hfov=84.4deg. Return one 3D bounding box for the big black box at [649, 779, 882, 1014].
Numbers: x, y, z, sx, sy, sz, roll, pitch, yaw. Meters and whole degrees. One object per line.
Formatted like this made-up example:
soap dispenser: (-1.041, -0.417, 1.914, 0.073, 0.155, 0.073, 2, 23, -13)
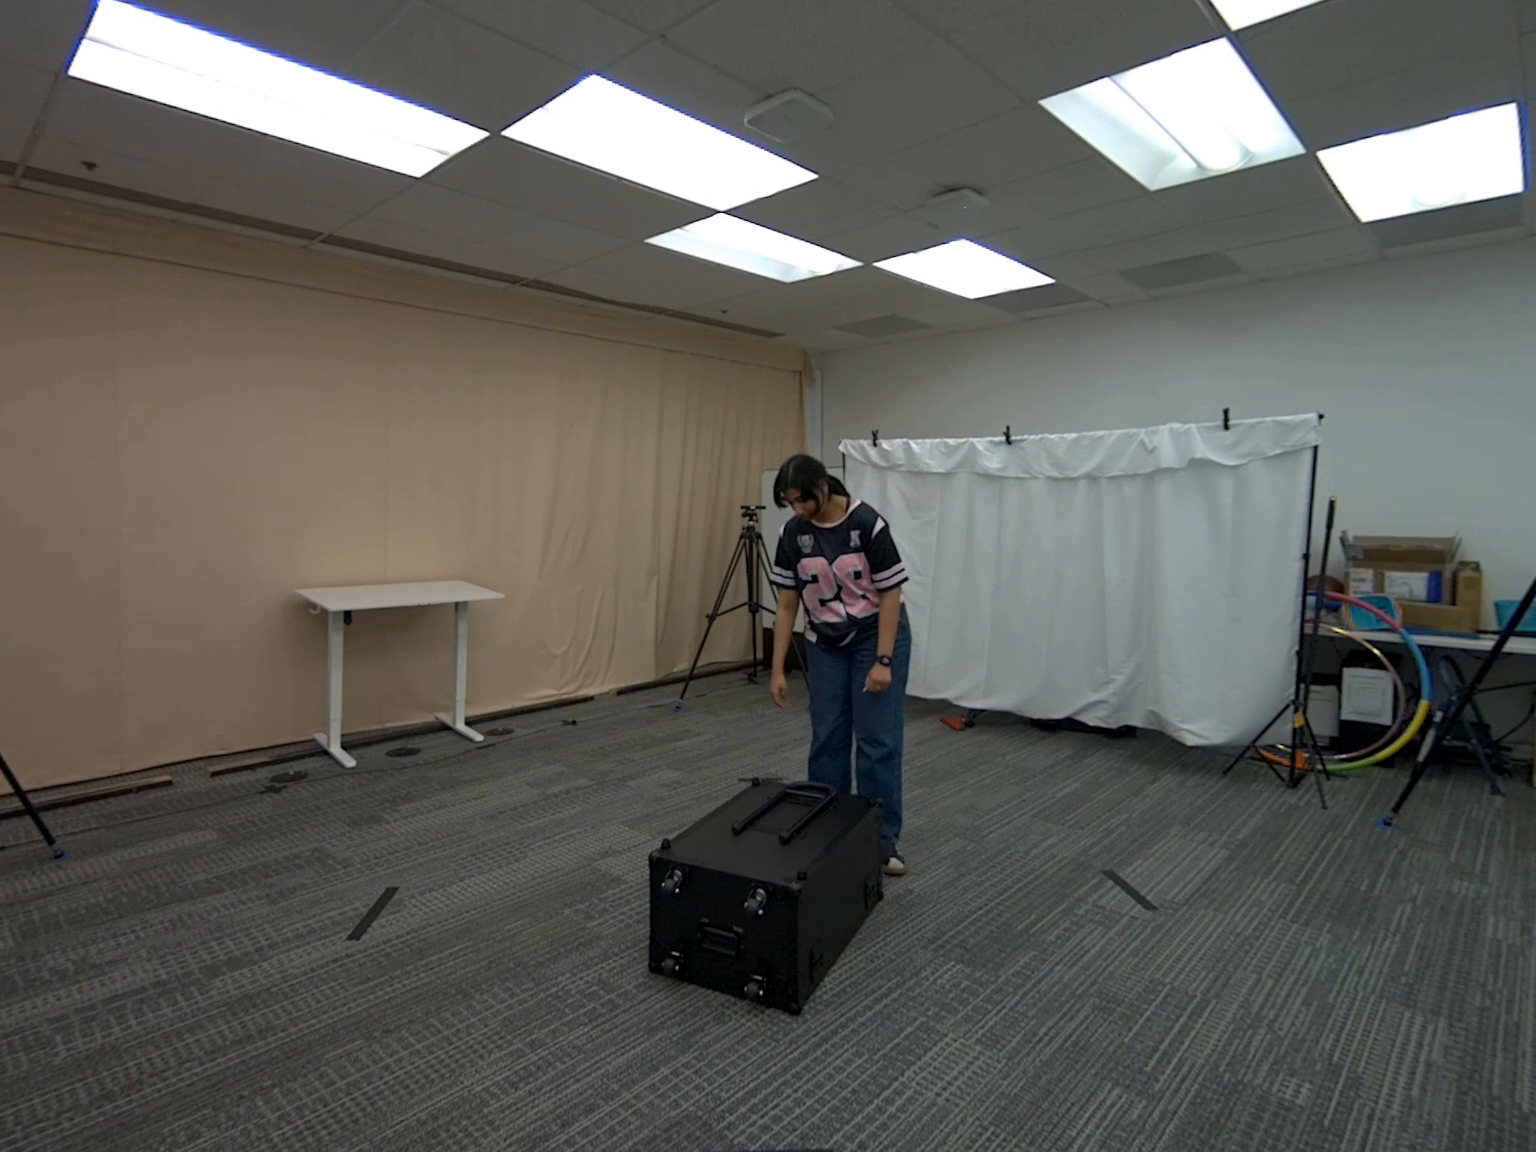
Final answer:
big black box: (0.012, 0.971, 2.702, 0.535, 0.395, 0.841, 2, 5, 25)
